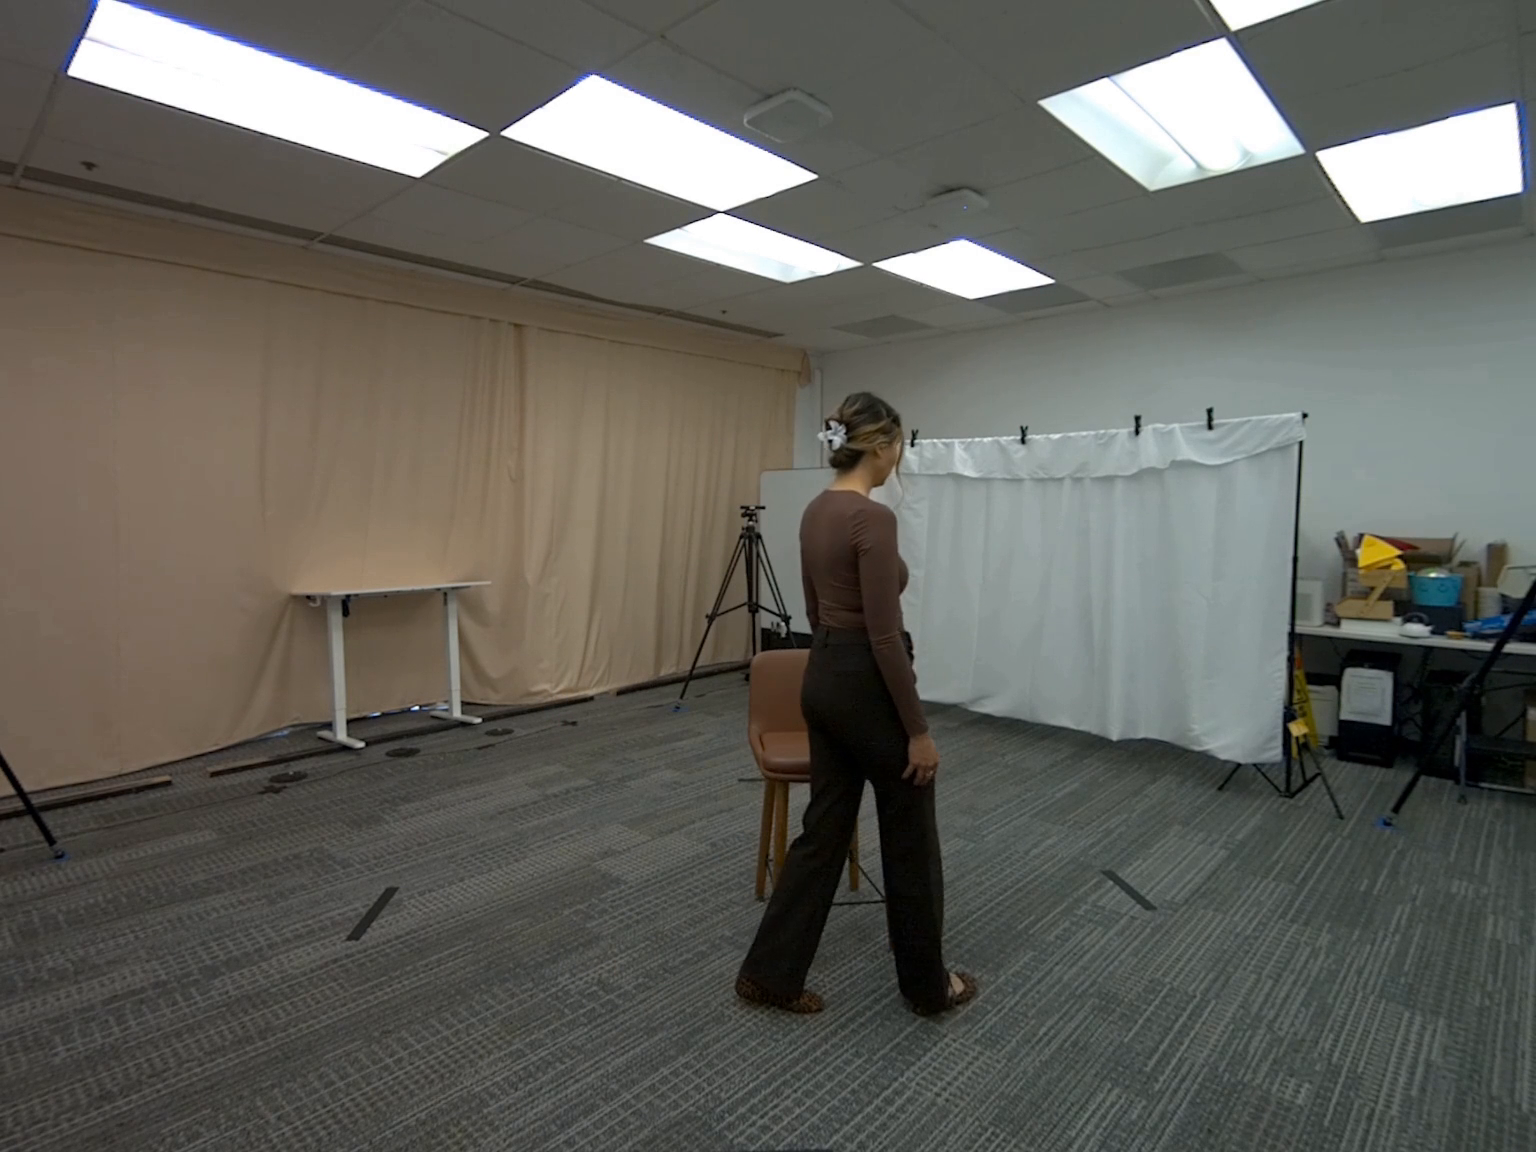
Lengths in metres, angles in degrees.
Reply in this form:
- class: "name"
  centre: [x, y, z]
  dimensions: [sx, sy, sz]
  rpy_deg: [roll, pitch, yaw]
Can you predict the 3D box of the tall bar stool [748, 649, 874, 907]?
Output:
- class: "tall bar stool"
  centre: [0.179, 0.726, 2.806]
  dimensions: [0.453, 0.888, 0.472]
  rpy_deg: [-1, 3, -8]
